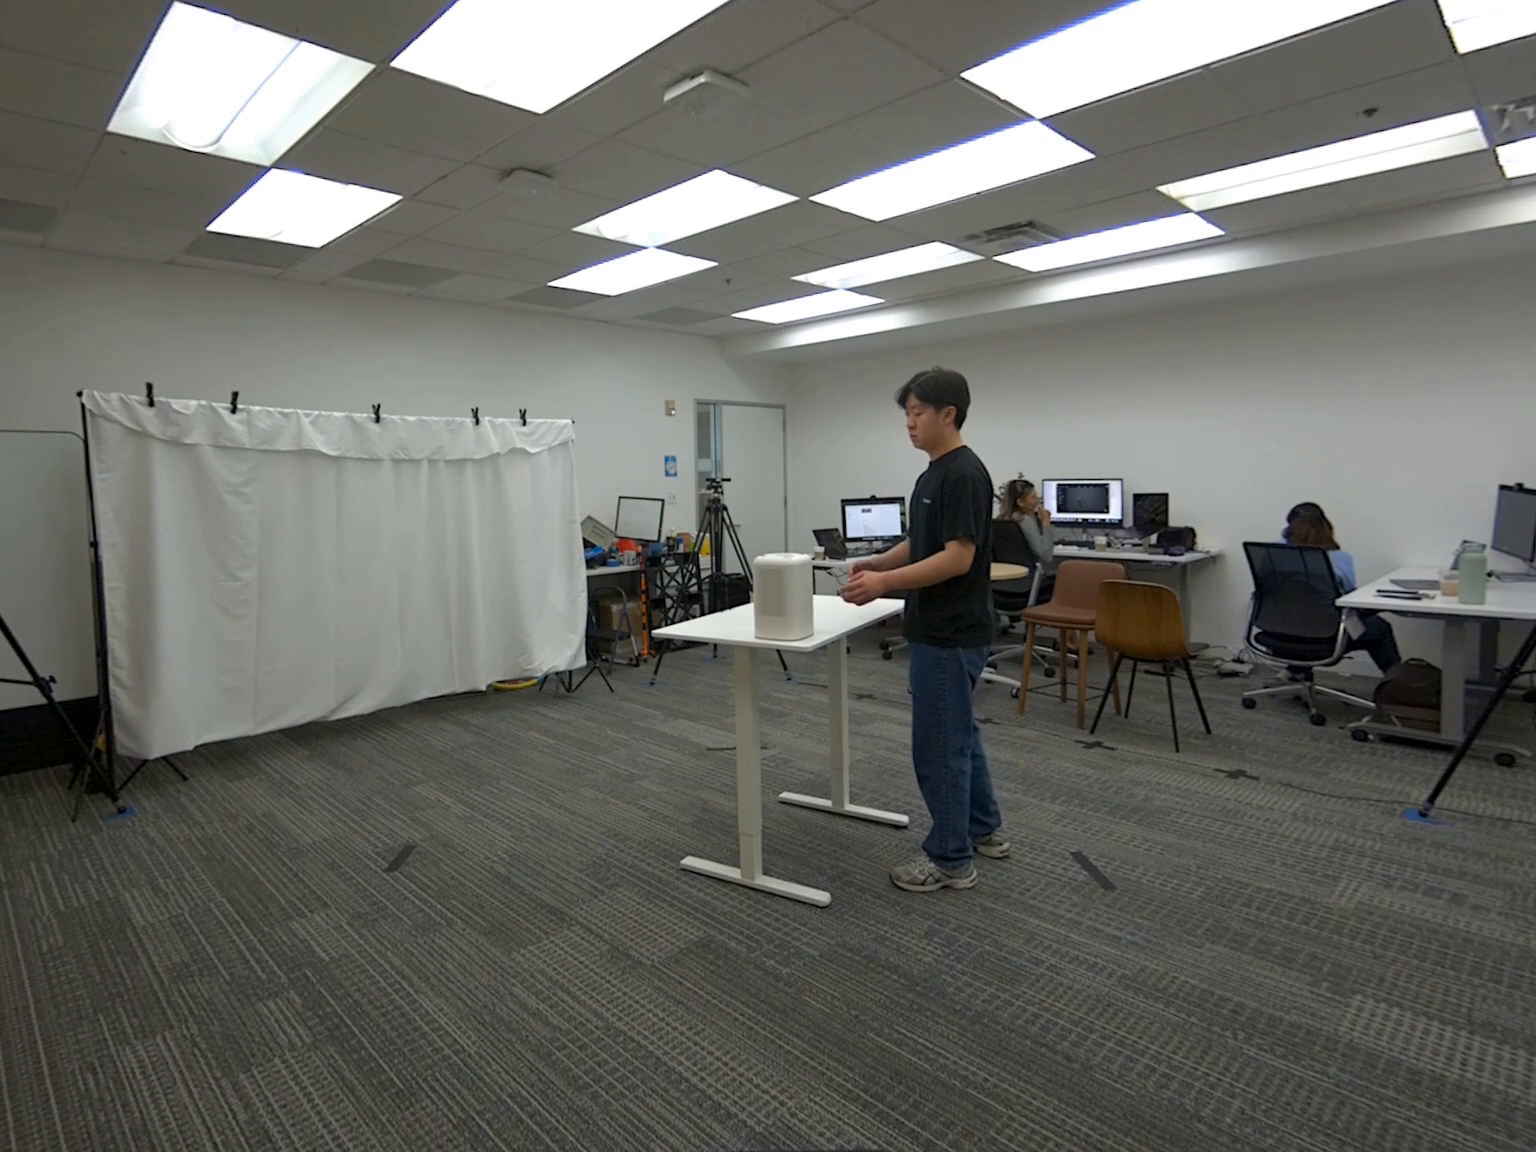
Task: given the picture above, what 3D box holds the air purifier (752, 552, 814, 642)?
[{"bbox_3d":[0.056,0.062,2.785,0.176,0.264,0.167,2,5,30],"label":"air purifier"}]
